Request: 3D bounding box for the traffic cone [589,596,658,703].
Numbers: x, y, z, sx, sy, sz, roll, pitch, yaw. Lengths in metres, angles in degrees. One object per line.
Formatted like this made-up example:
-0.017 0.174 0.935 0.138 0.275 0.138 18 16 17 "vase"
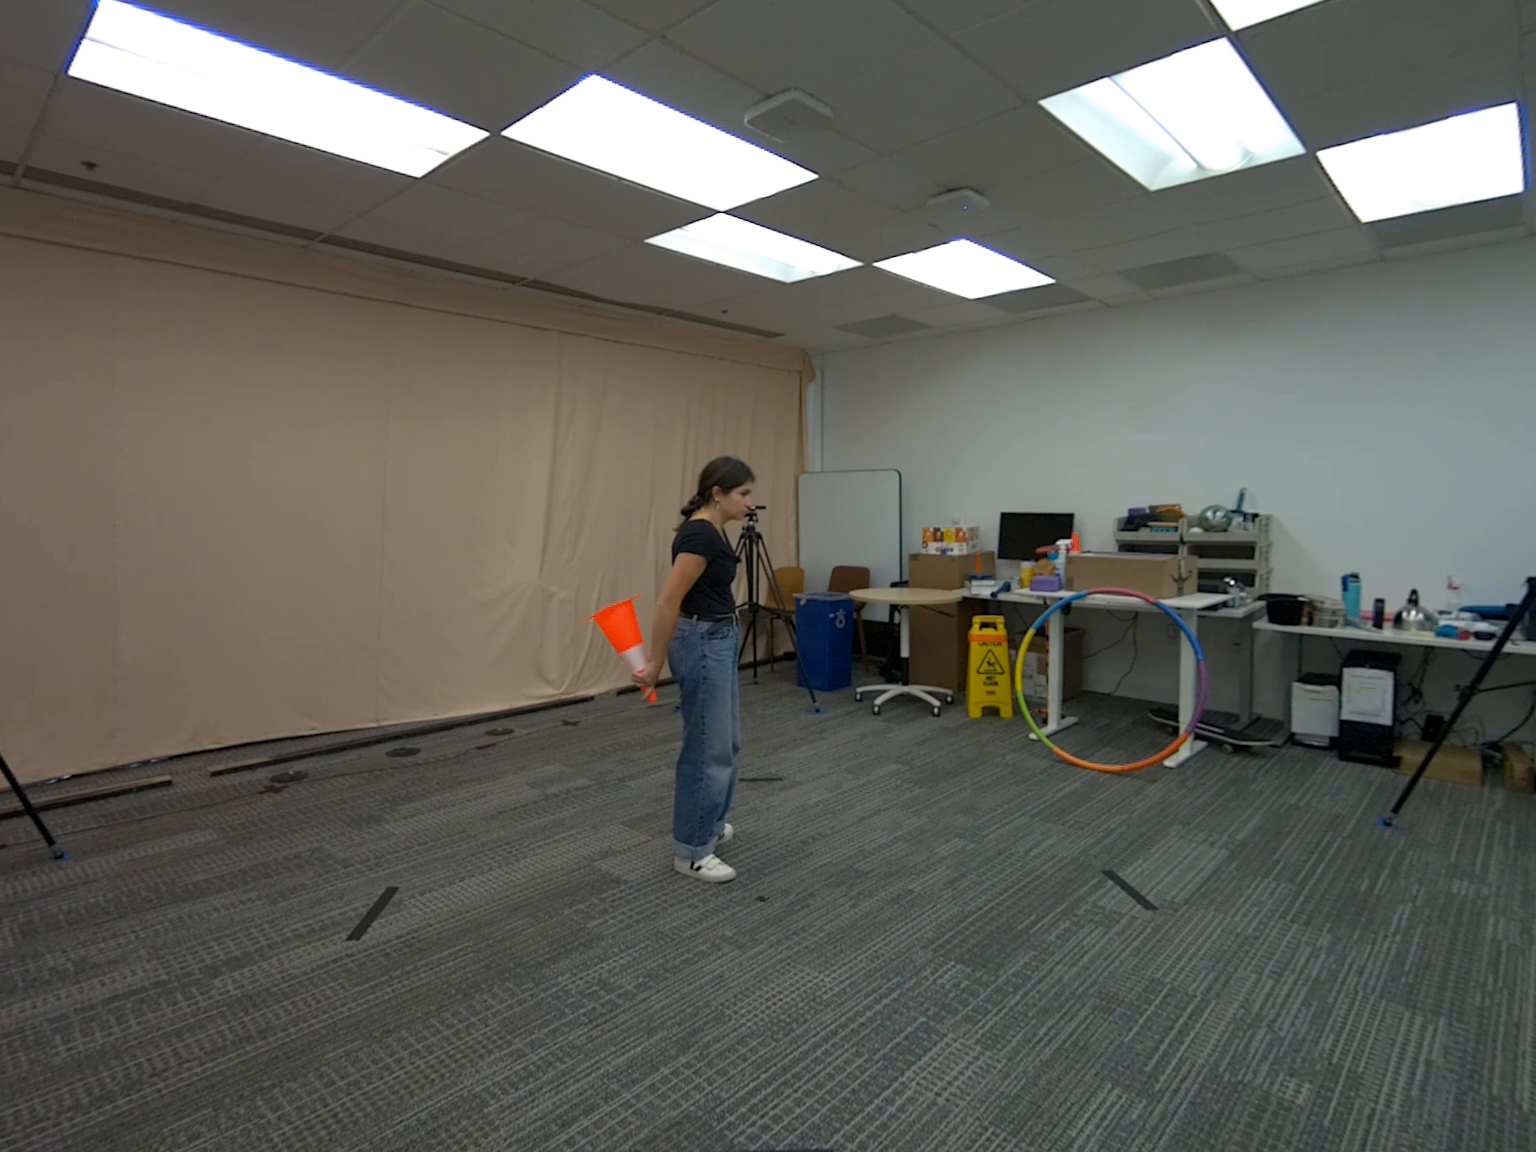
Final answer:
-0.481 0.306 3.138 0.199 0.386 0.208 -23 -6 -32 "traffic cone"
